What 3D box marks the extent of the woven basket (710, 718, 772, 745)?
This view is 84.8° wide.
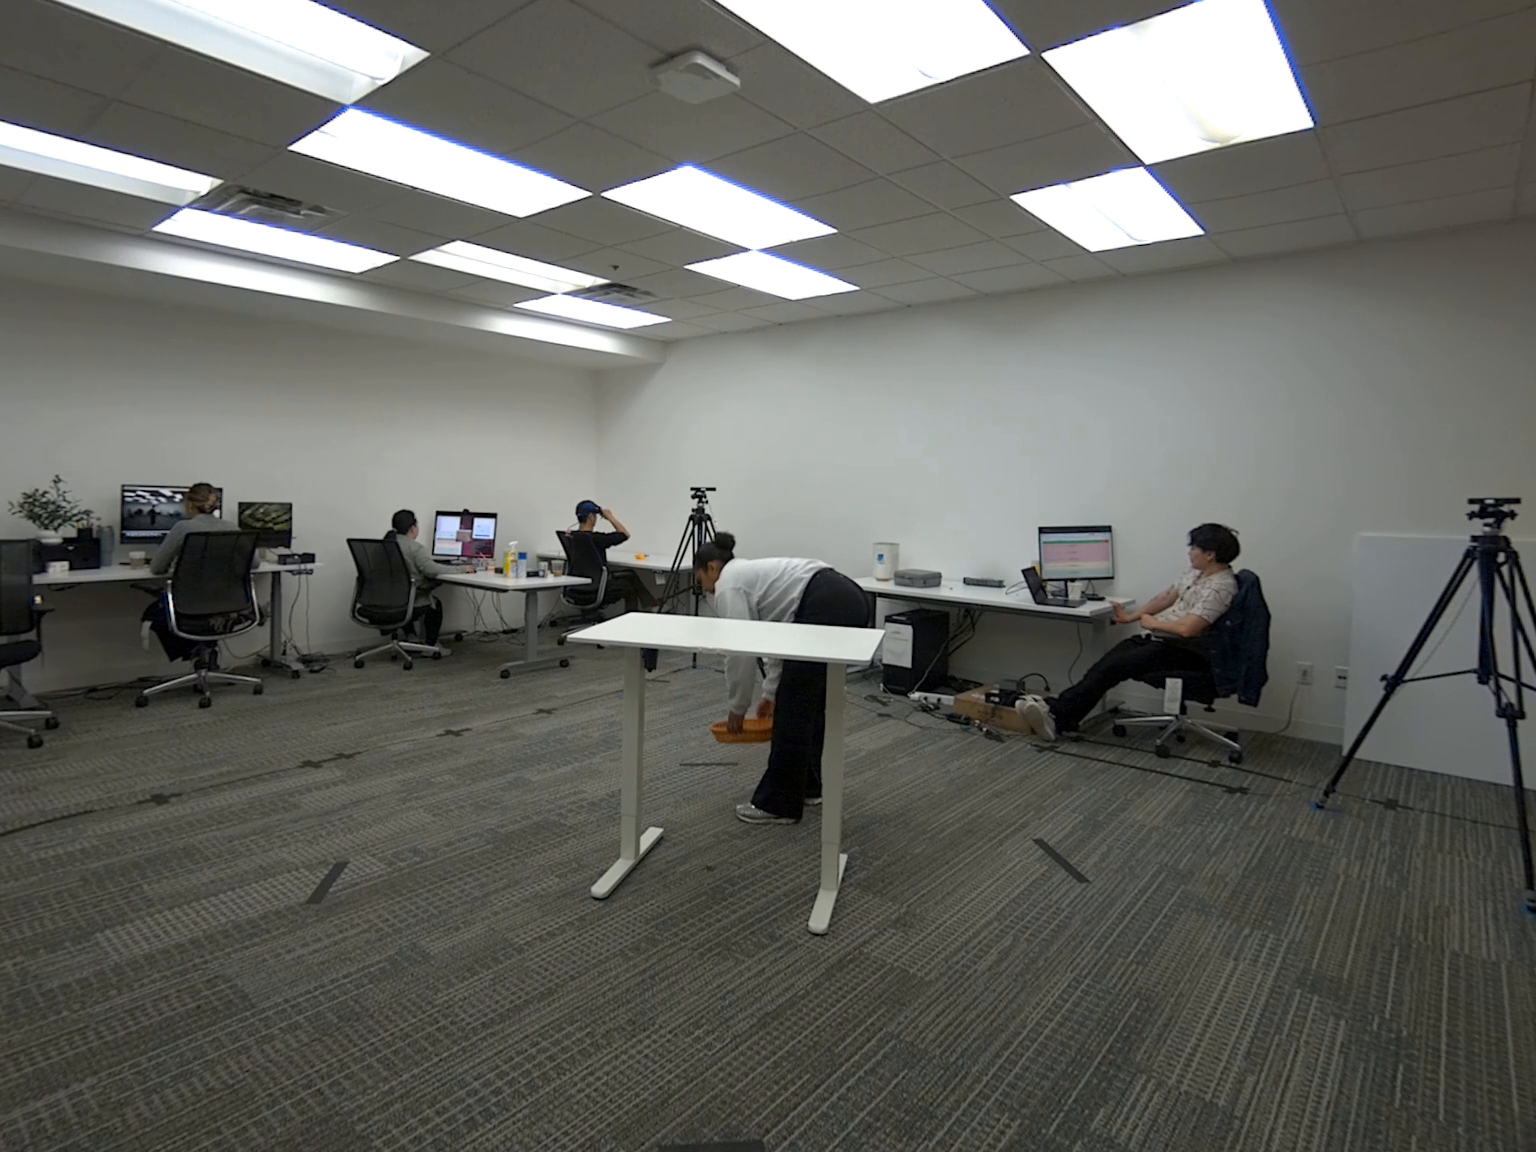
[{"bbox_3d":[-0.112,0.680,3.787,0.358,0.073,0.246,-4,-1,22],"label":"woven basket"}]
